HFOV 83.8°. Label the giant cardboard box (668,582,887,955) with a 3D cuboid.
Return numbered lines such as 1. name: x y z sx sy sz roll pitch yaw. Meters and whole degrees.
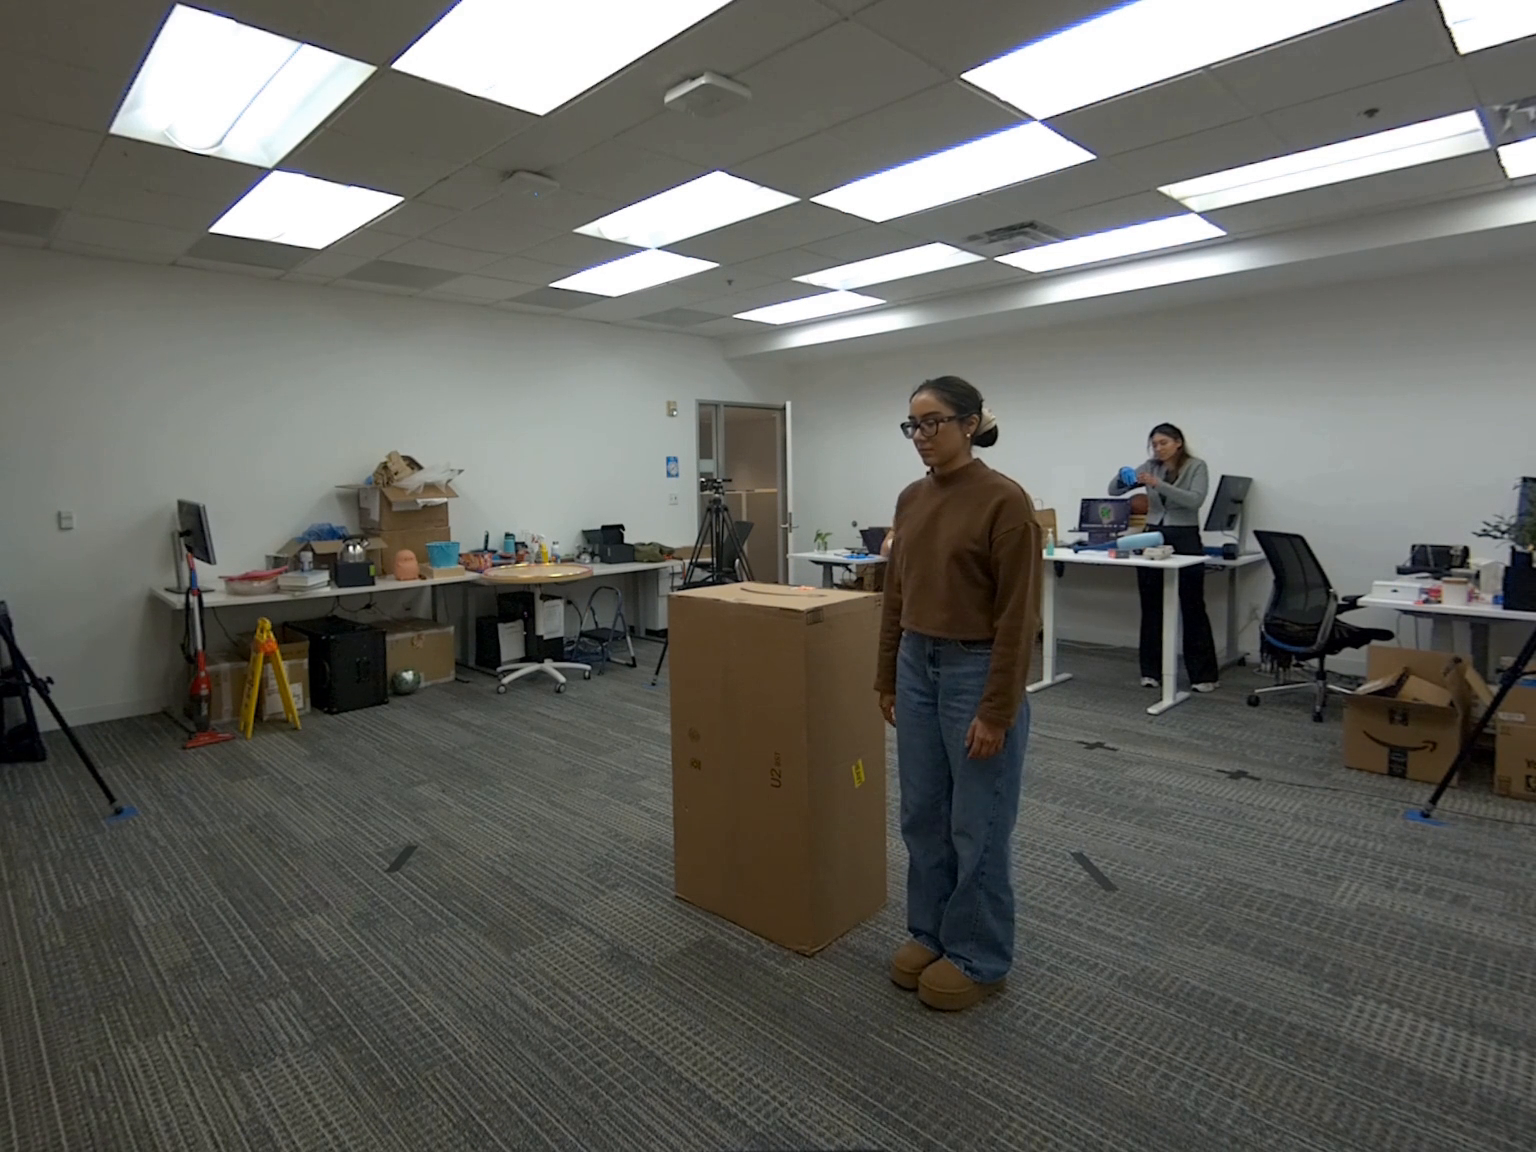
1. giant cardboard box: 0.030 0.567 2.811 0.595 1.022 0.415 3 5 42
